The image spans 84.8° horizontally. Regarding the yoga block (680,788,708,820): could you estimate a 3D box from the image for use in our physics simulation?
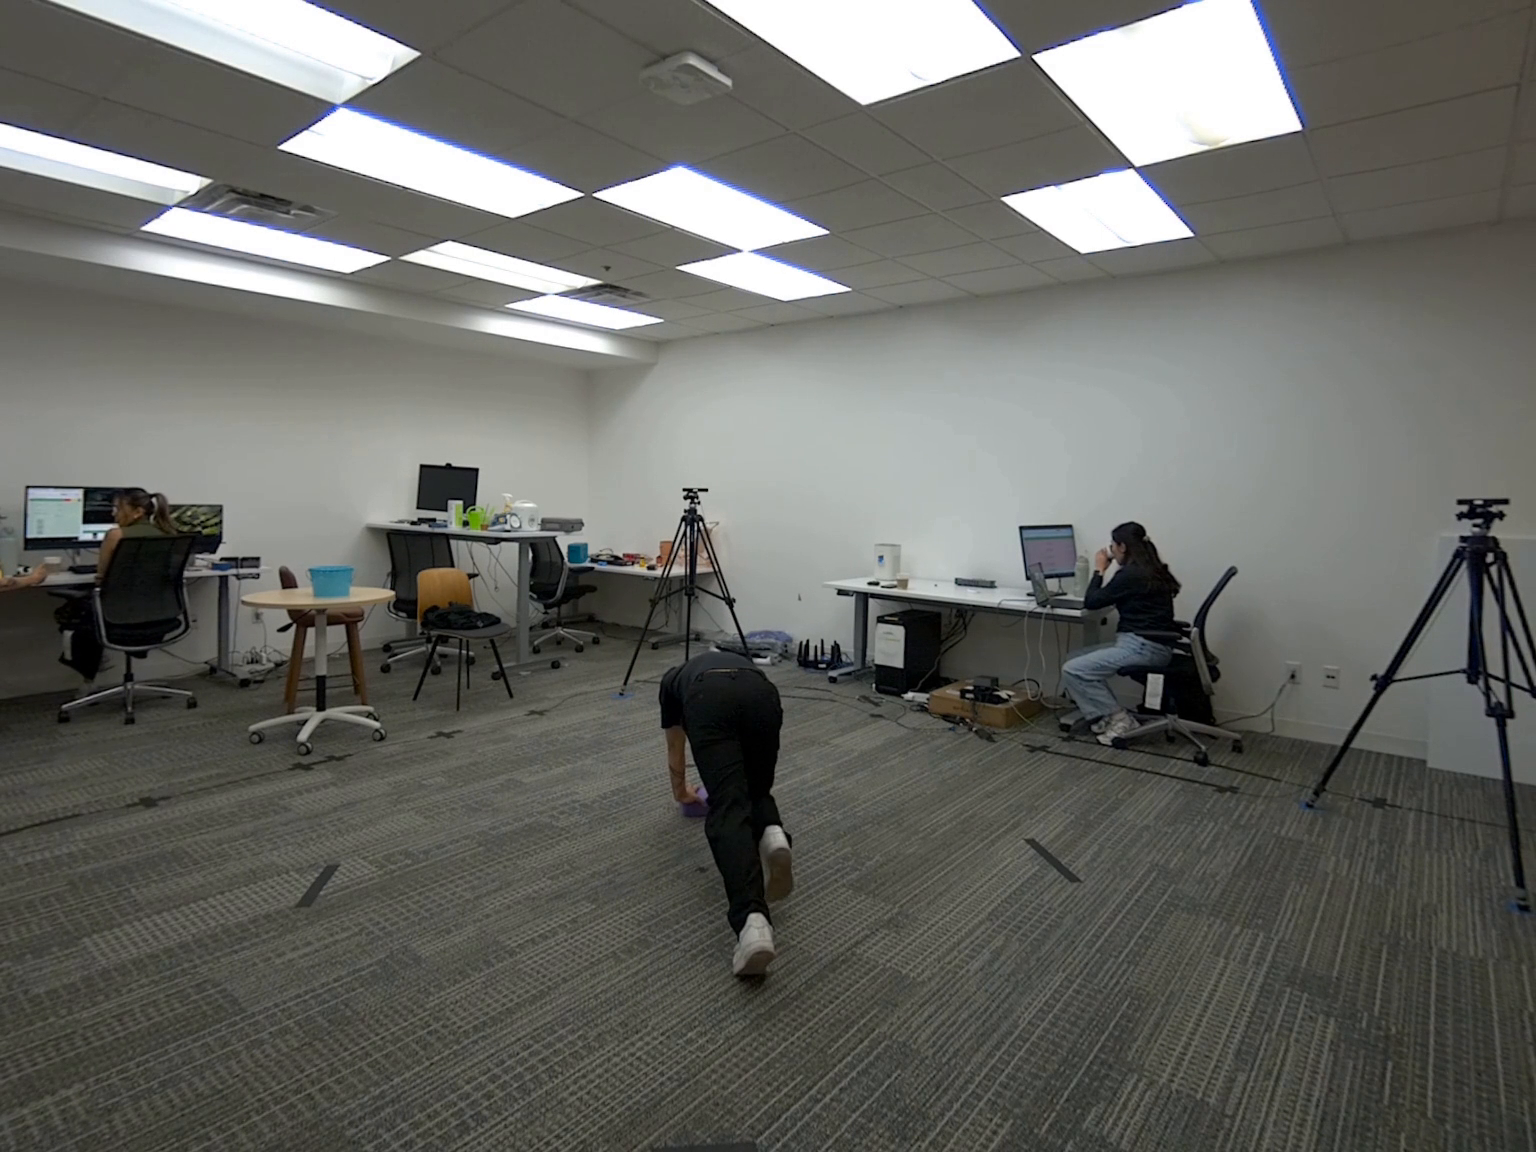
[{"bbox_3d":[-0.269,0.971,3.688,0.227,0.076,0.151,-2,3,-11],"label":"yoga block"}]
